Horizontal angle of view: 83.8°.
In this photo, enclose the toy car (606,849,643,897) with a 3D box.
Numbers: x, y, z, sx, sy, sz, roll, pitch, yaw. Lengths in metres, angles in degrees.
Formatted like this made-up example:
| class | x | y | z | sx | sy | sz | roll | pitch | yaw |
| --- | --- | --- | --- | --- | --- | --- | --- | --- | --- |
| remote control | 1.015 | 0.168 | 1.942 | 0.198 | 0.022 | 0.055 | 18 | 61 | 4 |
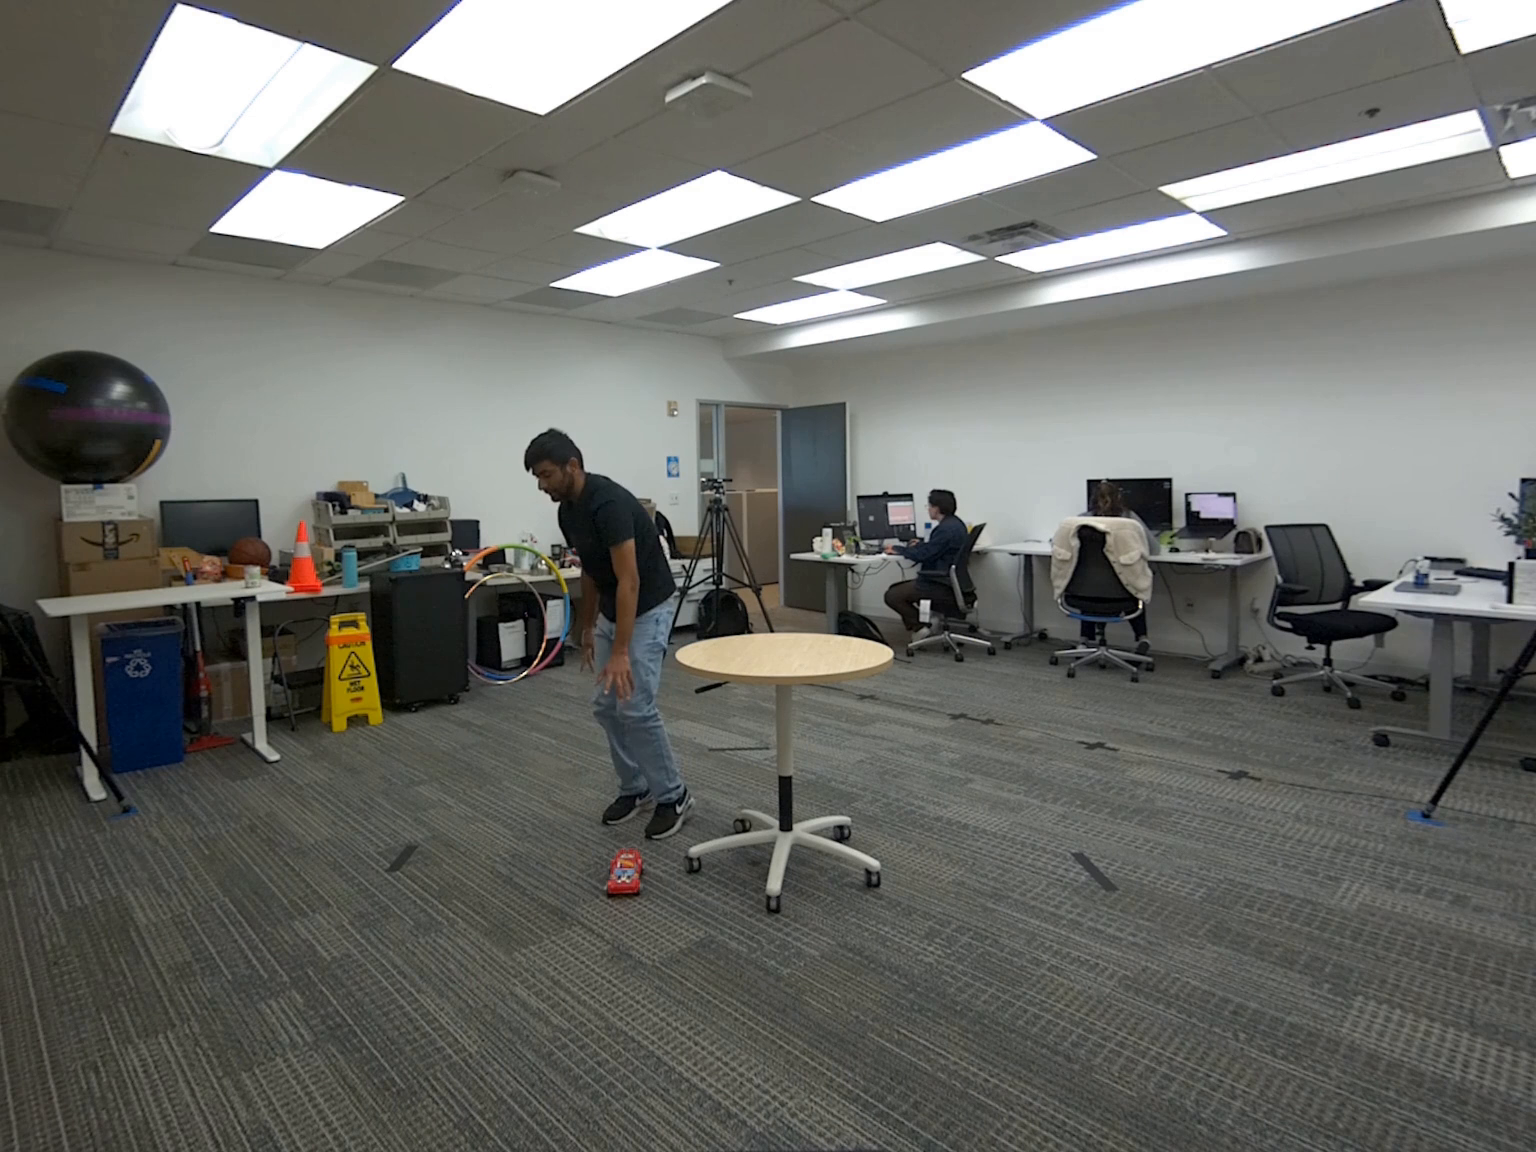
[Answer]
| class | x | y | z | sx | sy | sz | roll | pitch | yaw |
| --- | --- | --- | --- | --- | --- | --- | --- | --- | --- |
| toy car | -0.510 | 1.037 | 2.977 | 0.130 | 0.082 | 0.259 | -1 | 17 | -4 |
